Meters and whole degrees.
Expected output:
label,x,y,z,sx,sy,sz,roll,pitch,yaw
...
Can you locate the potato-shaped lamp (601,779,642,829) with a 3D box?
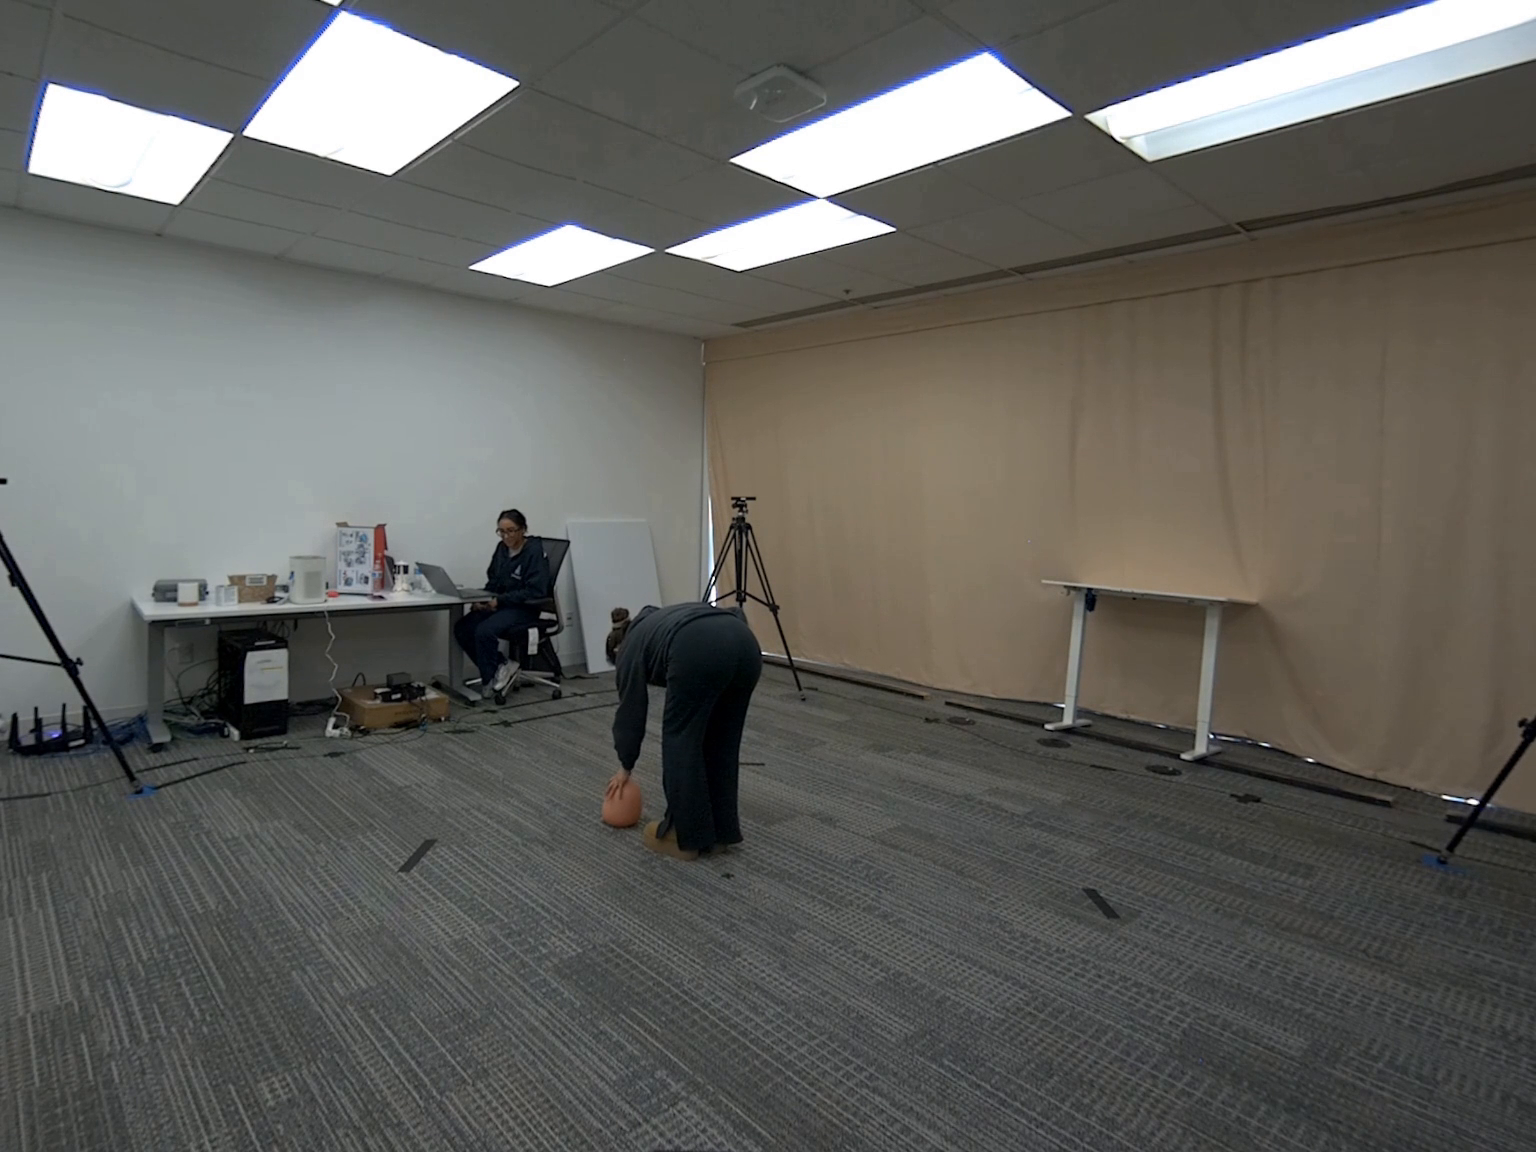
label,x,y,z,sx,sy,sz,roll,pitch,yaw
potato-shaped lamp,-0.631,0.955,3.584,0.161,0.198,0.176,0,4,-38
